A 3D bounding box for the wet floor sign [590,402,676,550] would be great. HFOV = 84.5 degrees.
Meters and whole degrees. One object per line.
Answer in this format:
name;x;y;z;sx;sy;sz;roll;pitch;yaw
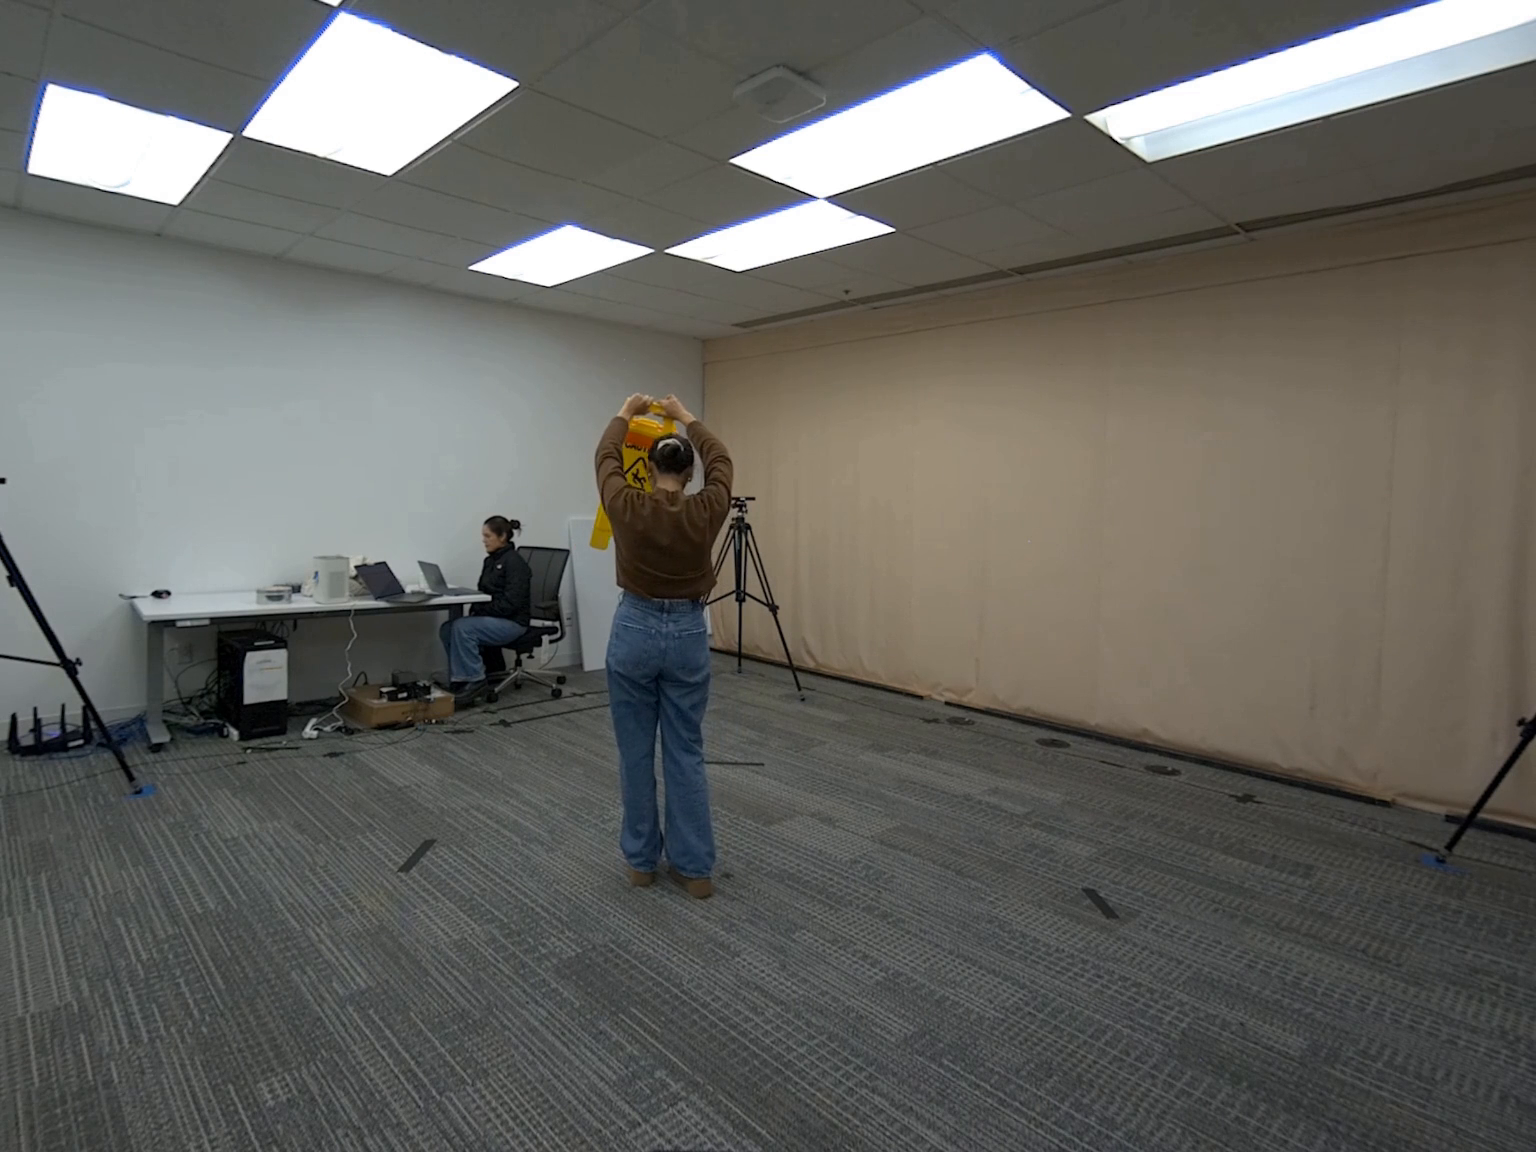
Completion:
wet floor sign;-0.535;-0.419;3.438;0.281;0.637;0.295;13;34;-4
